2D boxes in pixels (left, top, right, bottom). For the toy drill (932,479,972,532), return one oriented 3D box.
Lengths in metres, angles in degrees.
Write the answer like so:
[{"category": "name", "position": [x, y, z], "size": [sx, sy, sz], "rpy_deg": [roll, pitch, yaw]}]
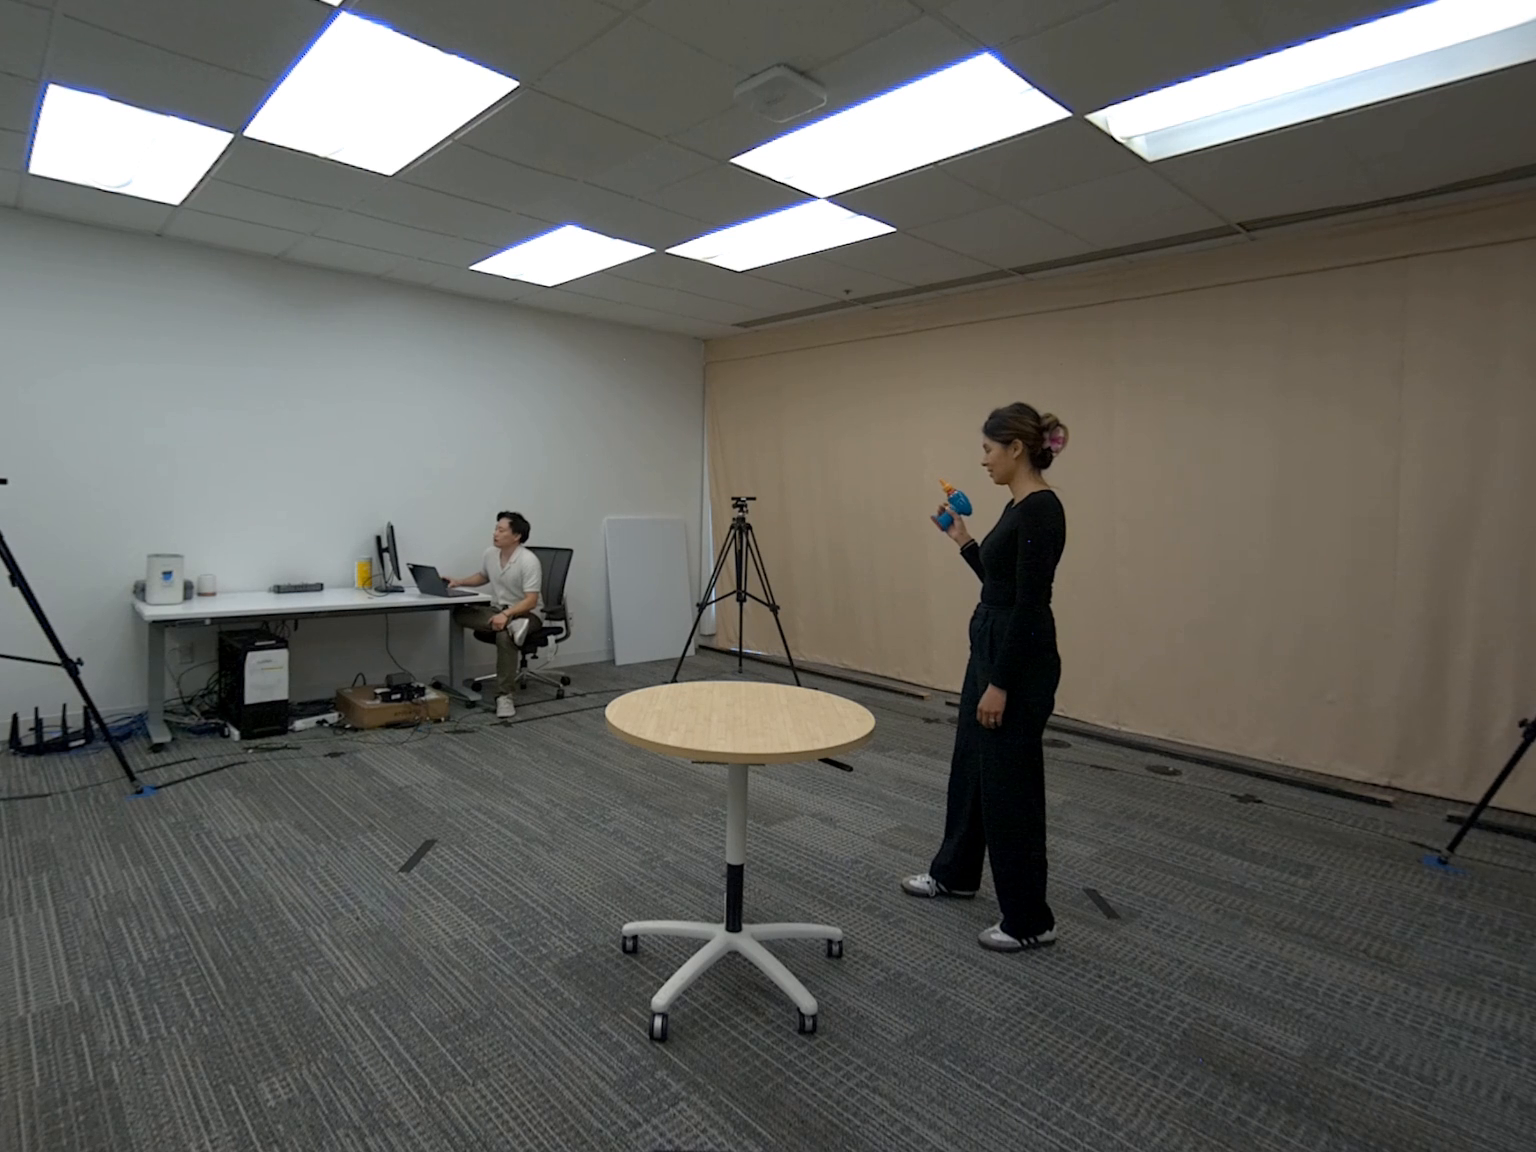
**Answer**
[{"category": "toy drill", "position": [0.632, -0.260, 3.006], "size": [0.146, 0.171, 0.061], "rpy_deg": [-36, -6, 2]}]
